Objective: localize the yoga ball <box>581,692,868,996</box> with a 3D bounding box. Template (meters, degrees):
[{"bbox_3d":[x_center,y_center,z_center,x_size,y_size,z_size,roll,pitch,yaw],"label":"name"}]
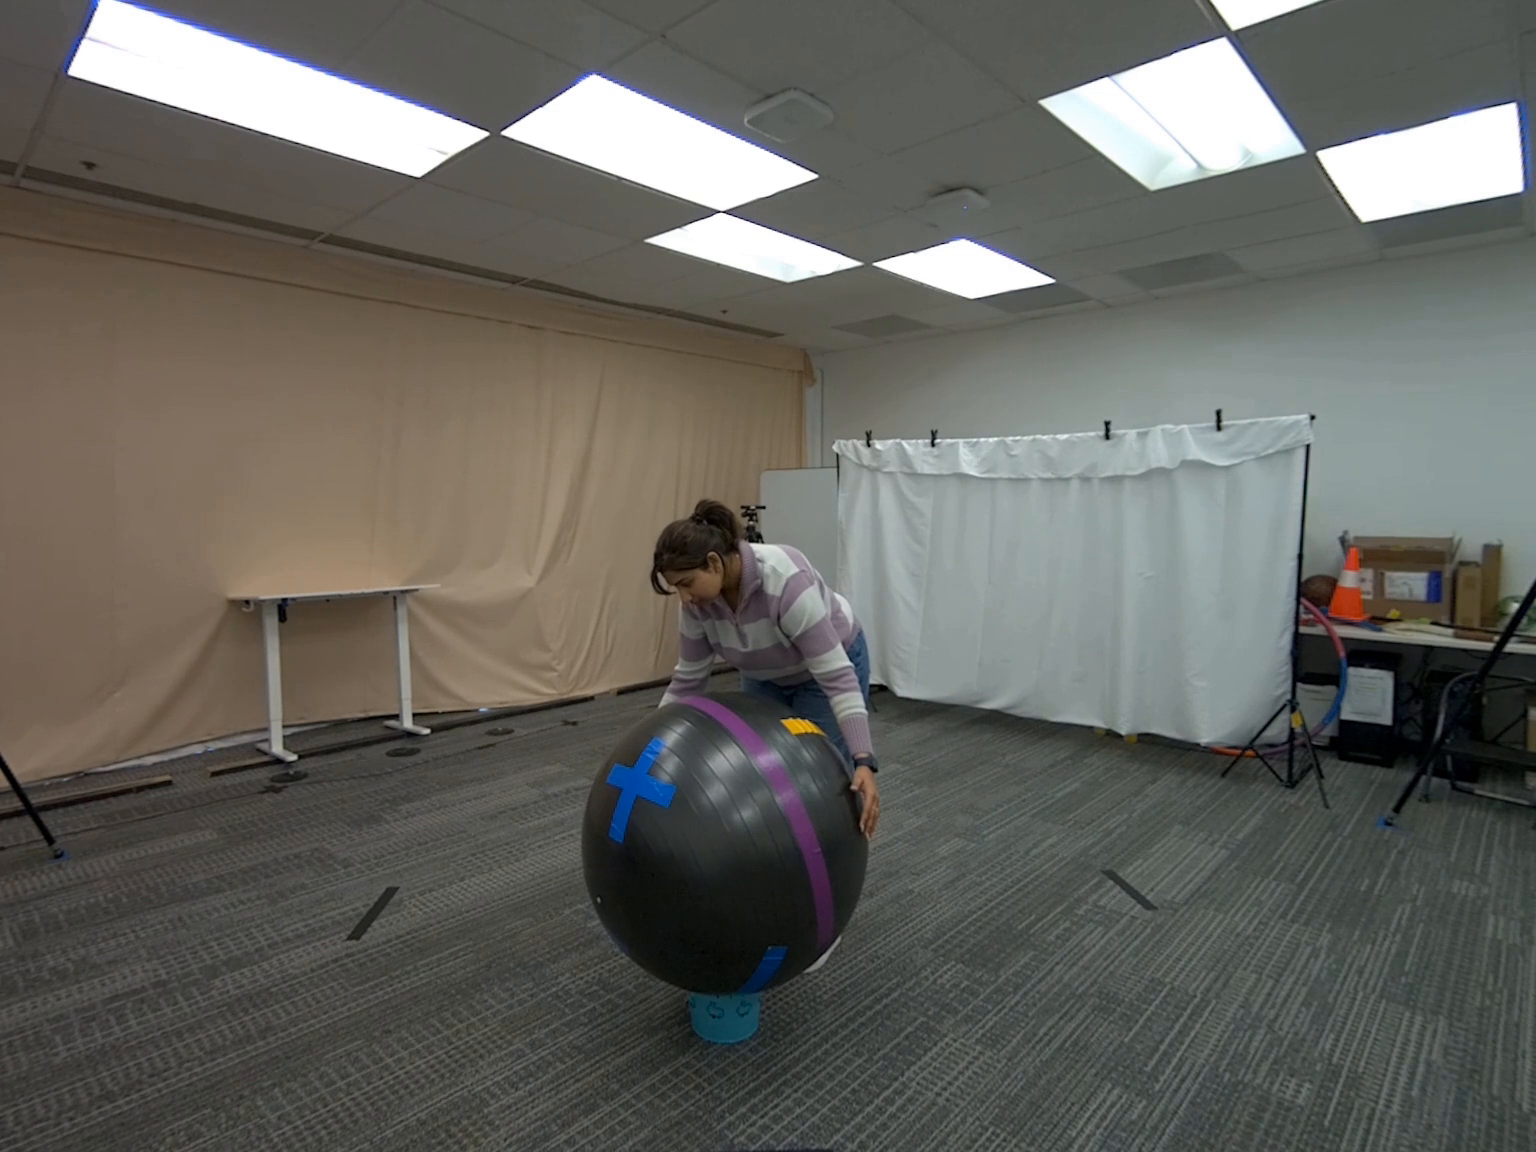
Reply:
[{"bbox_3d":[-0.120,0.697,2.230,0.757,0.756,0.761,0,4,-2],"label":"yoga ball"}]
